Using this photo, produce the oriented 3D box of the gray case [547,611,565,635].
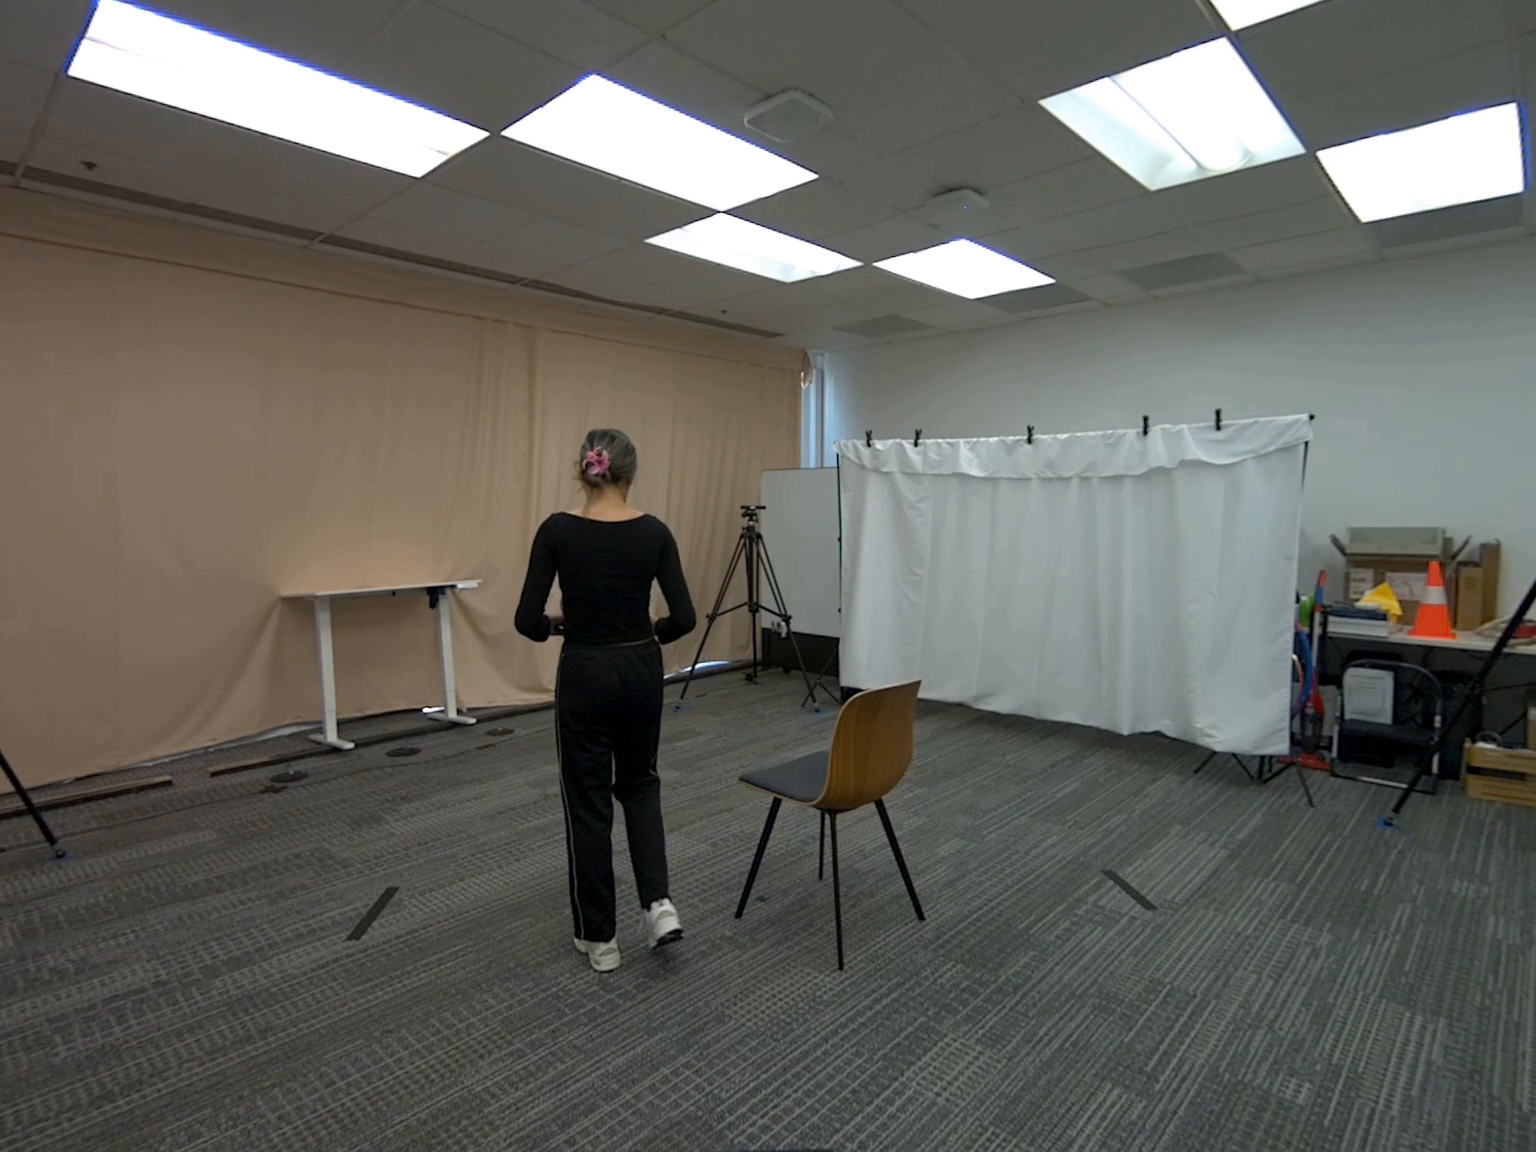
[{"bbox_3d":[-0.573,0.154,2.762,0.254,0.261,0.105,-7,-1,-9],"label":"gray case"}]
